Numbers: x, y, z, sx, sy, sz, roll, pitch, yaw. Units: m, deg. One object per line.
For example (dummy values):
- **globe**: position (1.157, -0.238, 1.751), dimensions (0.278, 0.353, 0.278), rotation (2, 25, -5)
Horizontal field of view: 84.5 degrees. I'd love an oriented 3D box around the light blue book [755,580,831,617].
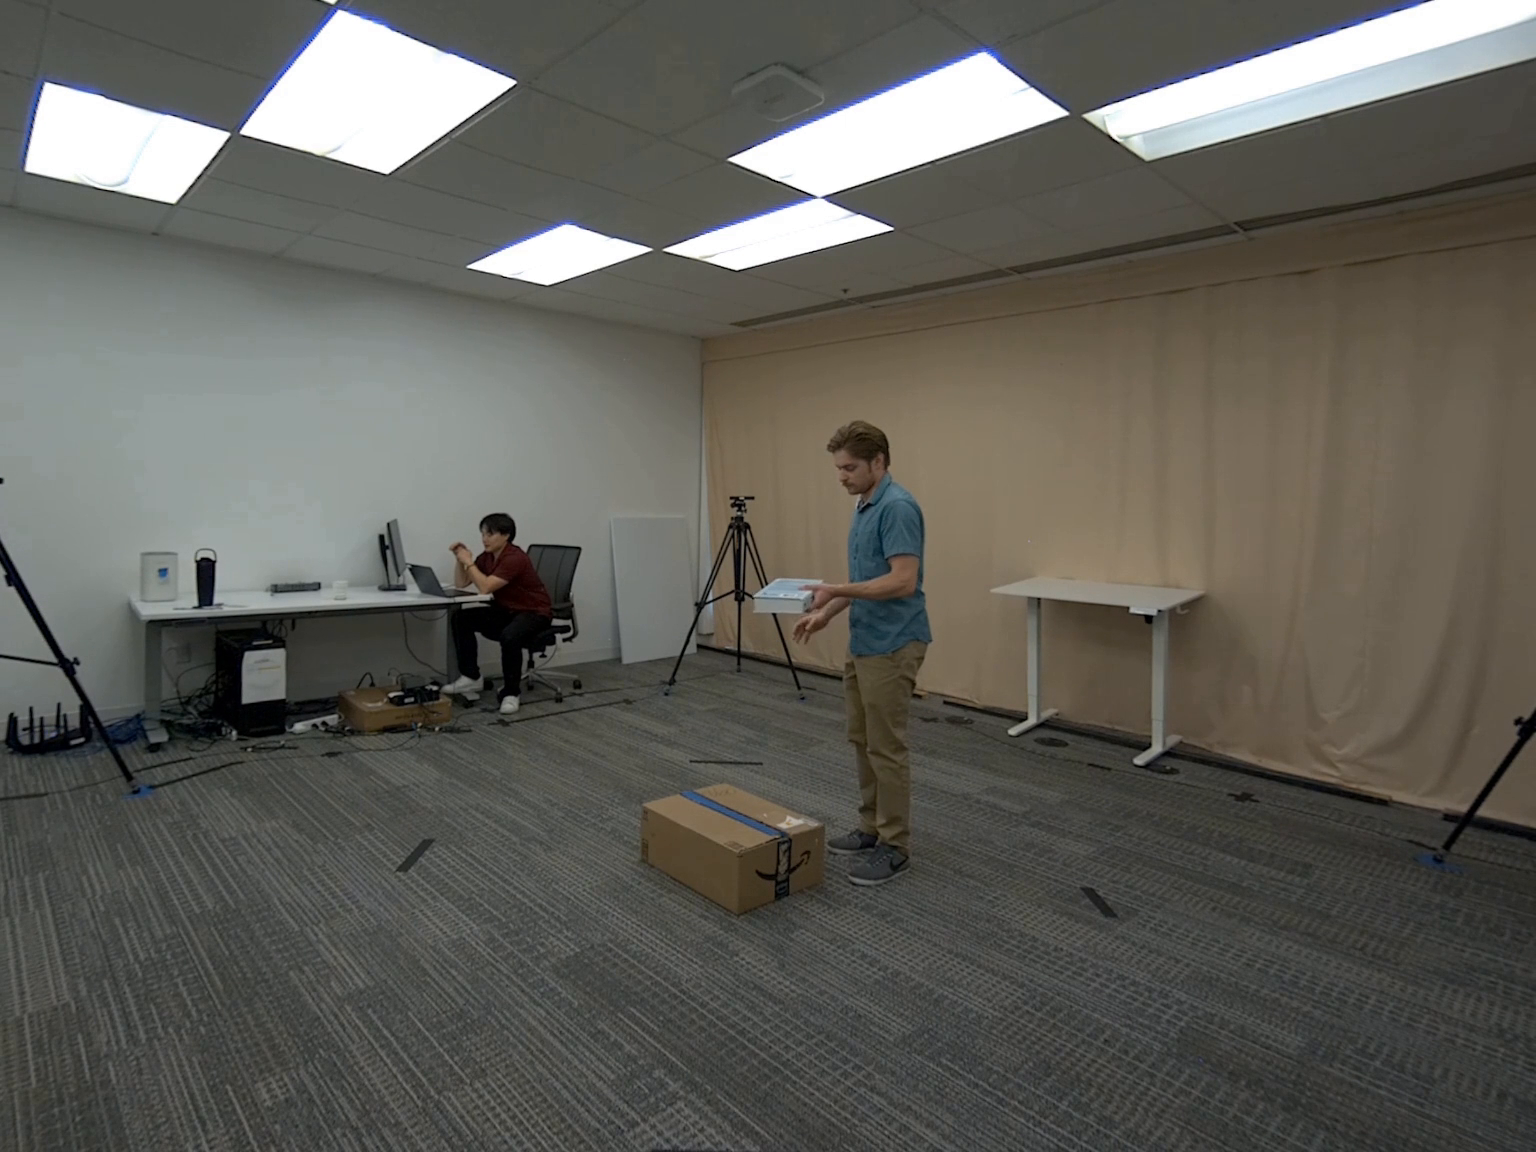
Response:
- **light blue book**: position (0.093, 0.075, 3.049), dimensions (0.195, 0.058, 0.259), rotation (2, 14, 23)
